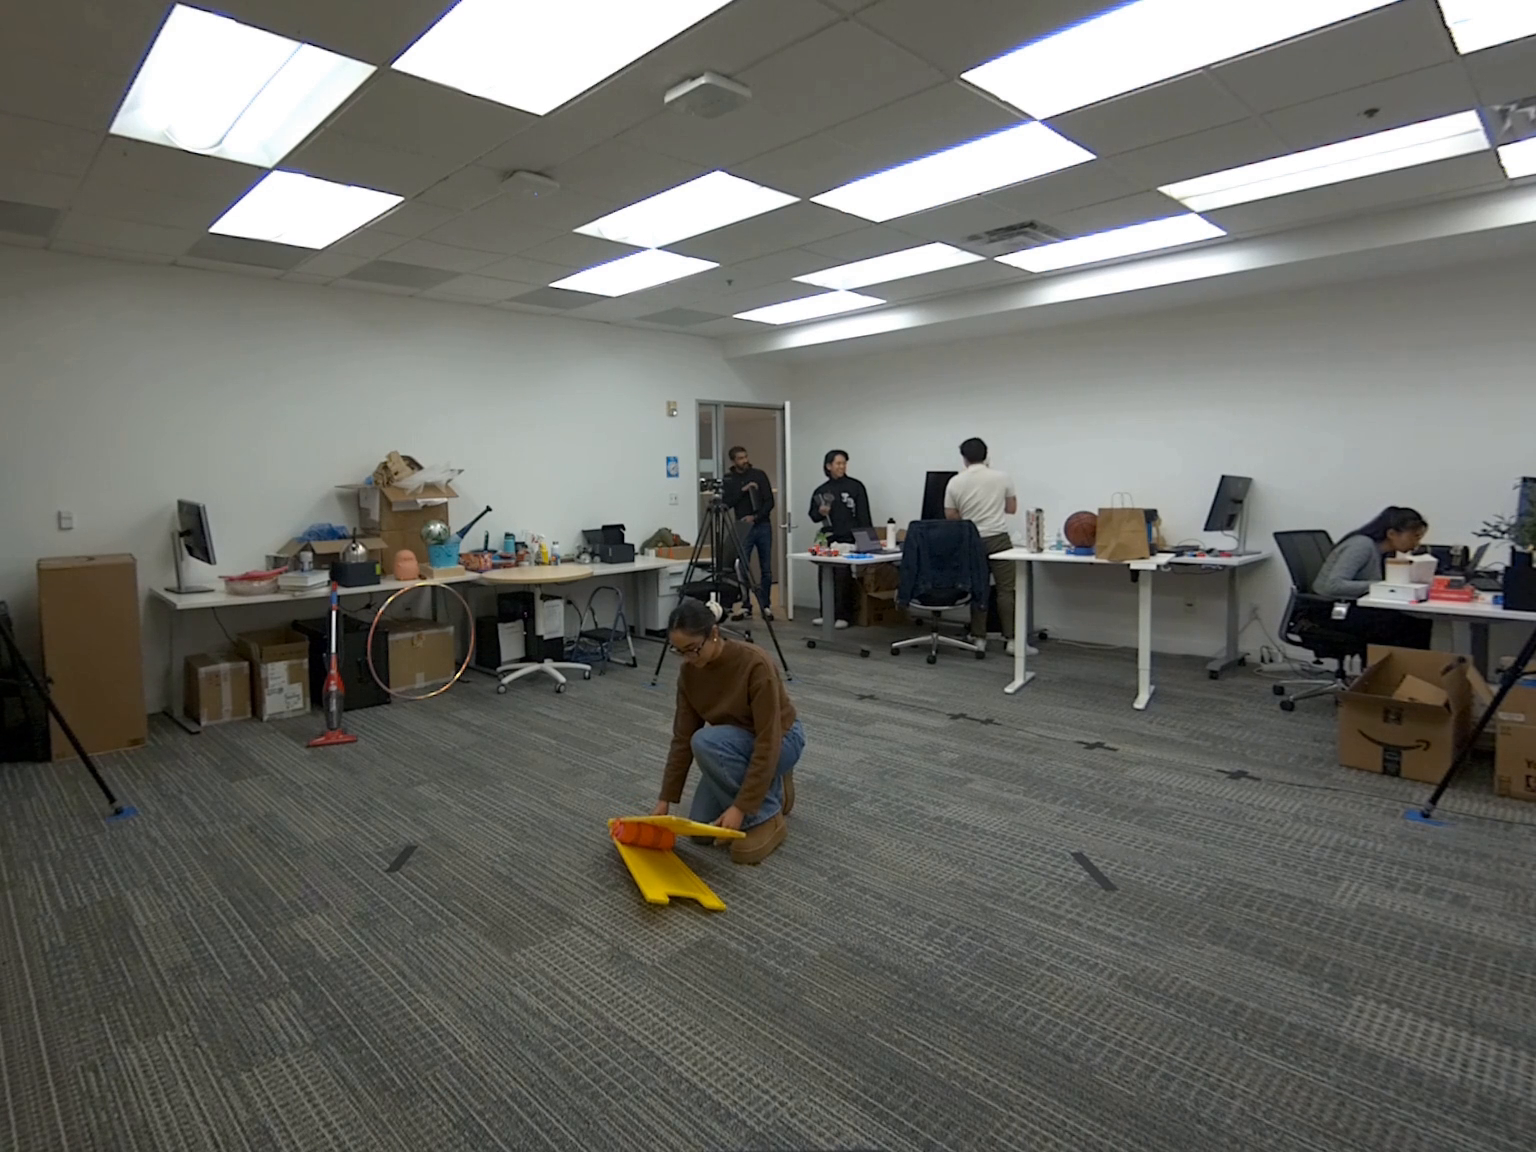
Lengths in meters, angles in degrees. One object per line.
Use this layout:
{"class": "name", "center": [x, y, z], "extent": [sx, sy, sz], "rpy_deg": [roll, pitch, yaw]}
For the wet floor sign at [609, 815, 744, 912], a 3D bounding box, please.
{"class": "wet floor sign", "center": [-0.373, 0.957, 3.033], "extent": [0.274, 0.292, 0.658], "rpy_deg": [21, -15, -25]}
